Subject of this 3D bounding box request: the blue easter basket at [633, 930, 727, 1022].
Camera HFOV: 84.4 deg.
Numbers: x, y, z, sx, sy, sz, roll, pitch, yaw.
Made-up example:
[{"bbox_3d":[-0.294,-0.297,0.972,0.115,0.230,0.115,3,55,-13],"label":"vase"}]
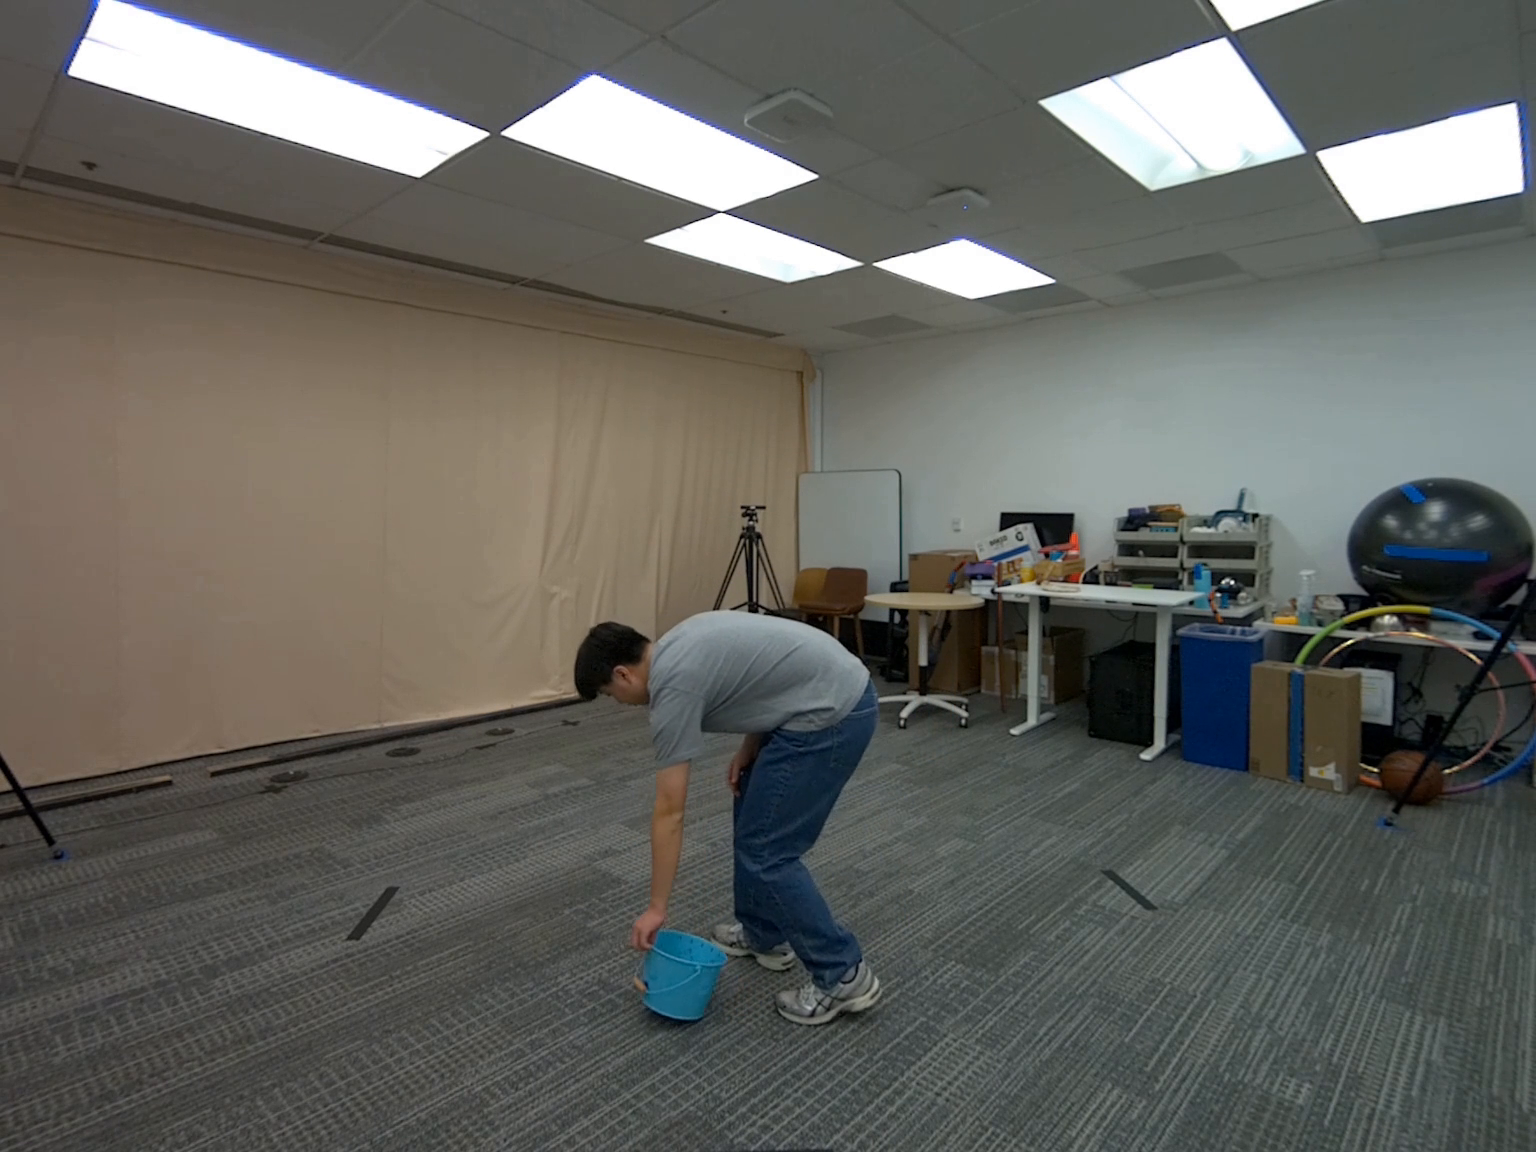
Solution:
[{"bbox_3d":[-0.250,1.103,2.321,0.244,0.156,0.243,15,-7,0],"label":"blue easter basket"}]
